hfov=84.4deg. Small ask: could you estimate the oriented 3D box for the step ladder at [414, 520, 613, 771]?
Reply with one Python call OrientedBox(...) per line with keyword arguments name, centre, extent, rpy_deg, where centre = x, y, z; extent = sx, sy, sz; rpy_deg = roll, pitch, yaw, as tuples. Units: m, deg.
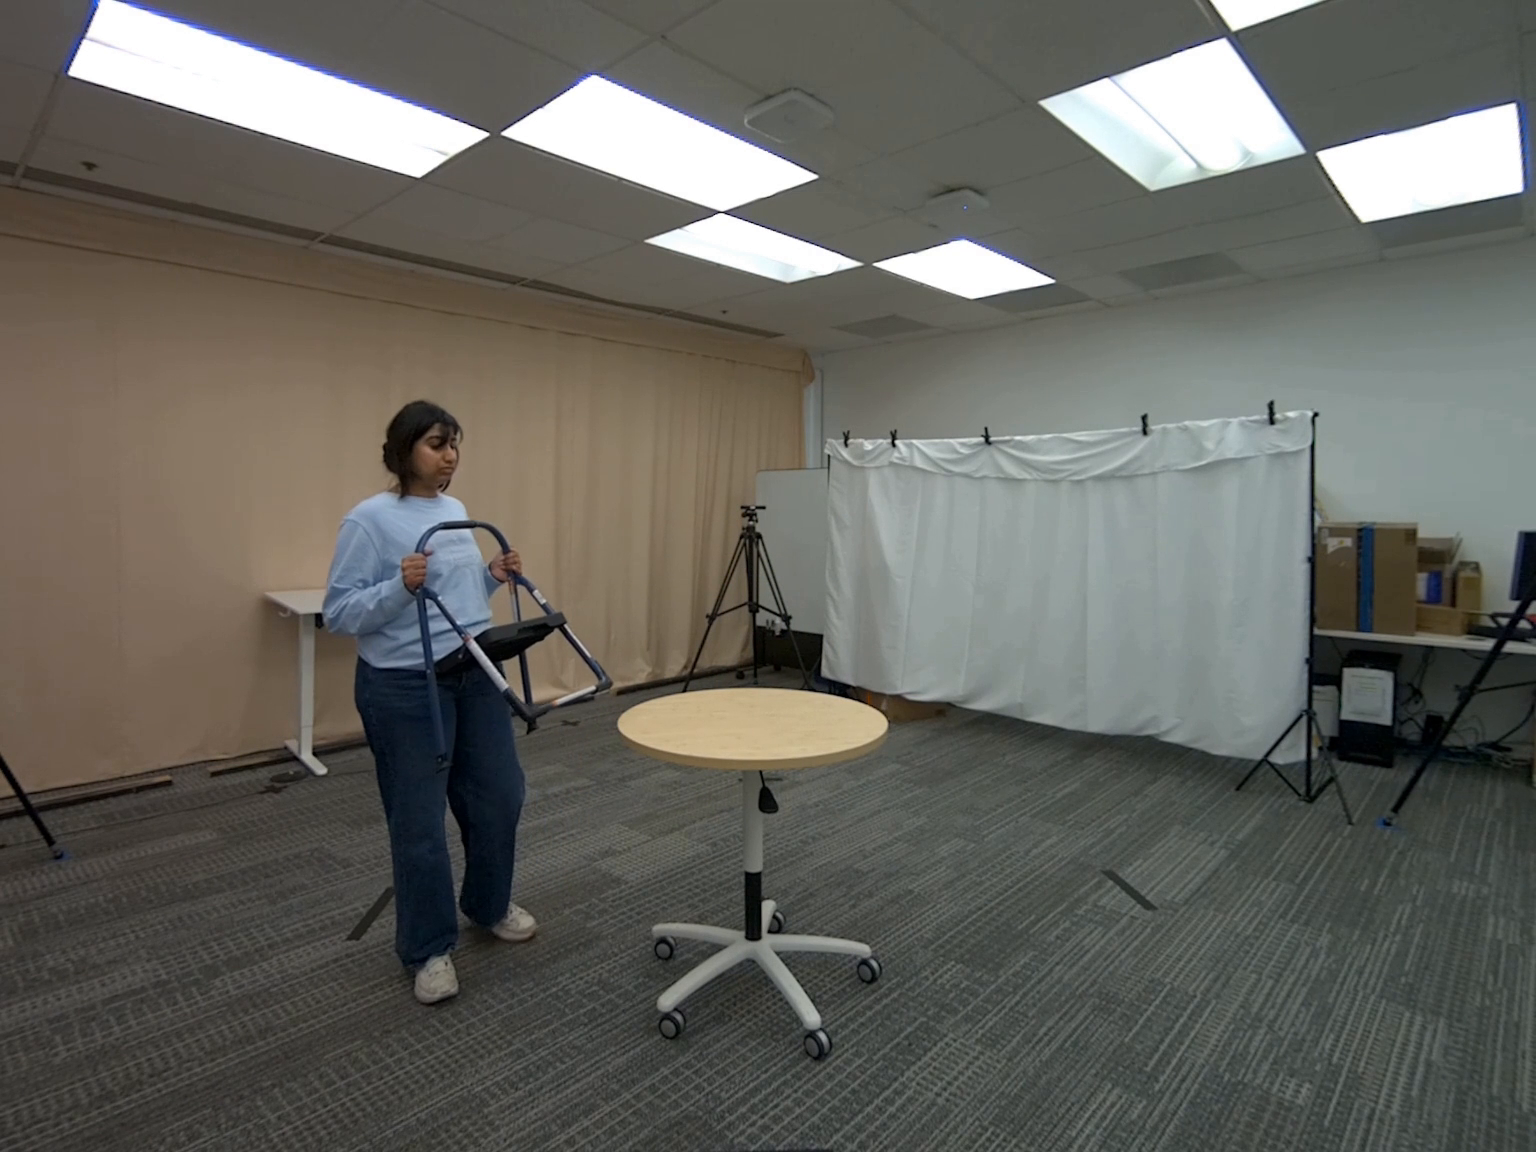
OrientedBox(name="step ladder", centre=(-0.783, 0.148, 2.366), extent=(0.353, 0.611, 0.422), rpy_deg=(-31, -8, 20))
